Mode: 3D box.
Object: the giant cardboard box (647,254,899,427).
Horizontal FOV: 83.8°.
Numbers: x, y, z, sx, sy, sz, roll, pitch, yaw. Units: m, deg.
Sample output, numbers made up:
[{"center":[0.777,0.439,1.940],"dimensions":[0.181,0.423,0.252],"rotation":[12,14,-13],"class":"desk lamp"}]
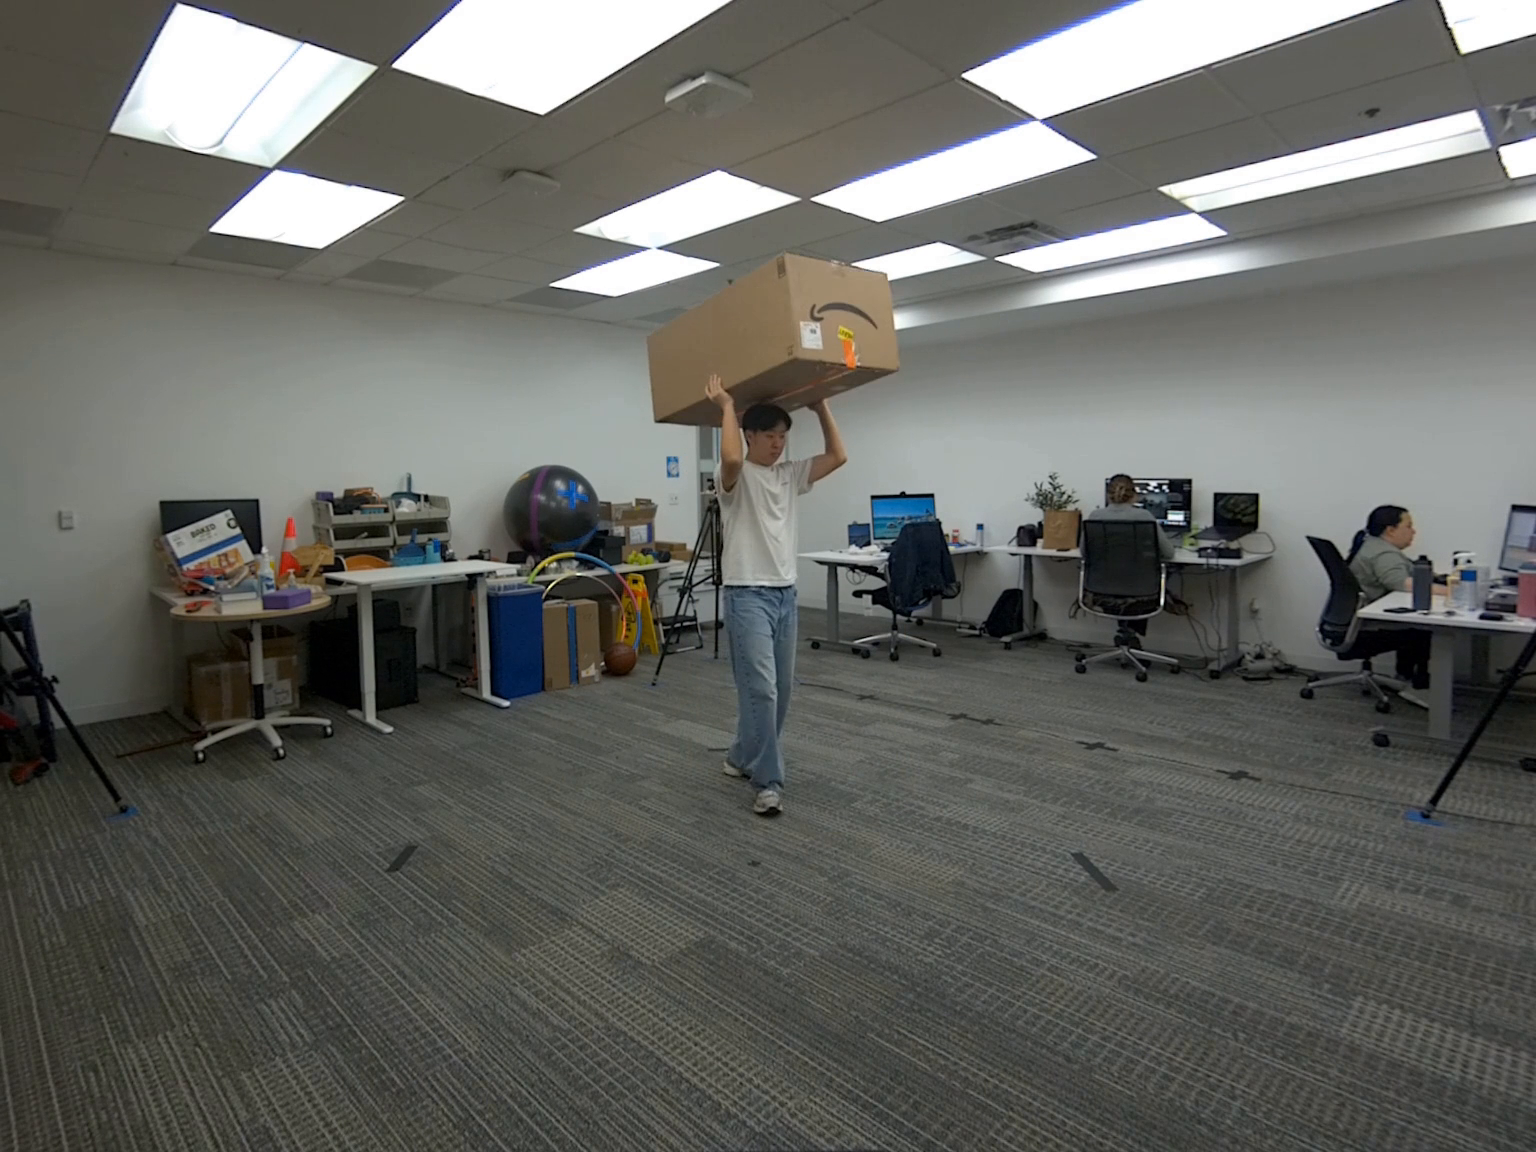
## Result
[{"center":[-0.018,-0.986,3.795],"dimensions":[0.562,0.428,1.049],"rotation":[-4,-3,-38],"class":"giant cardboard box"}]
